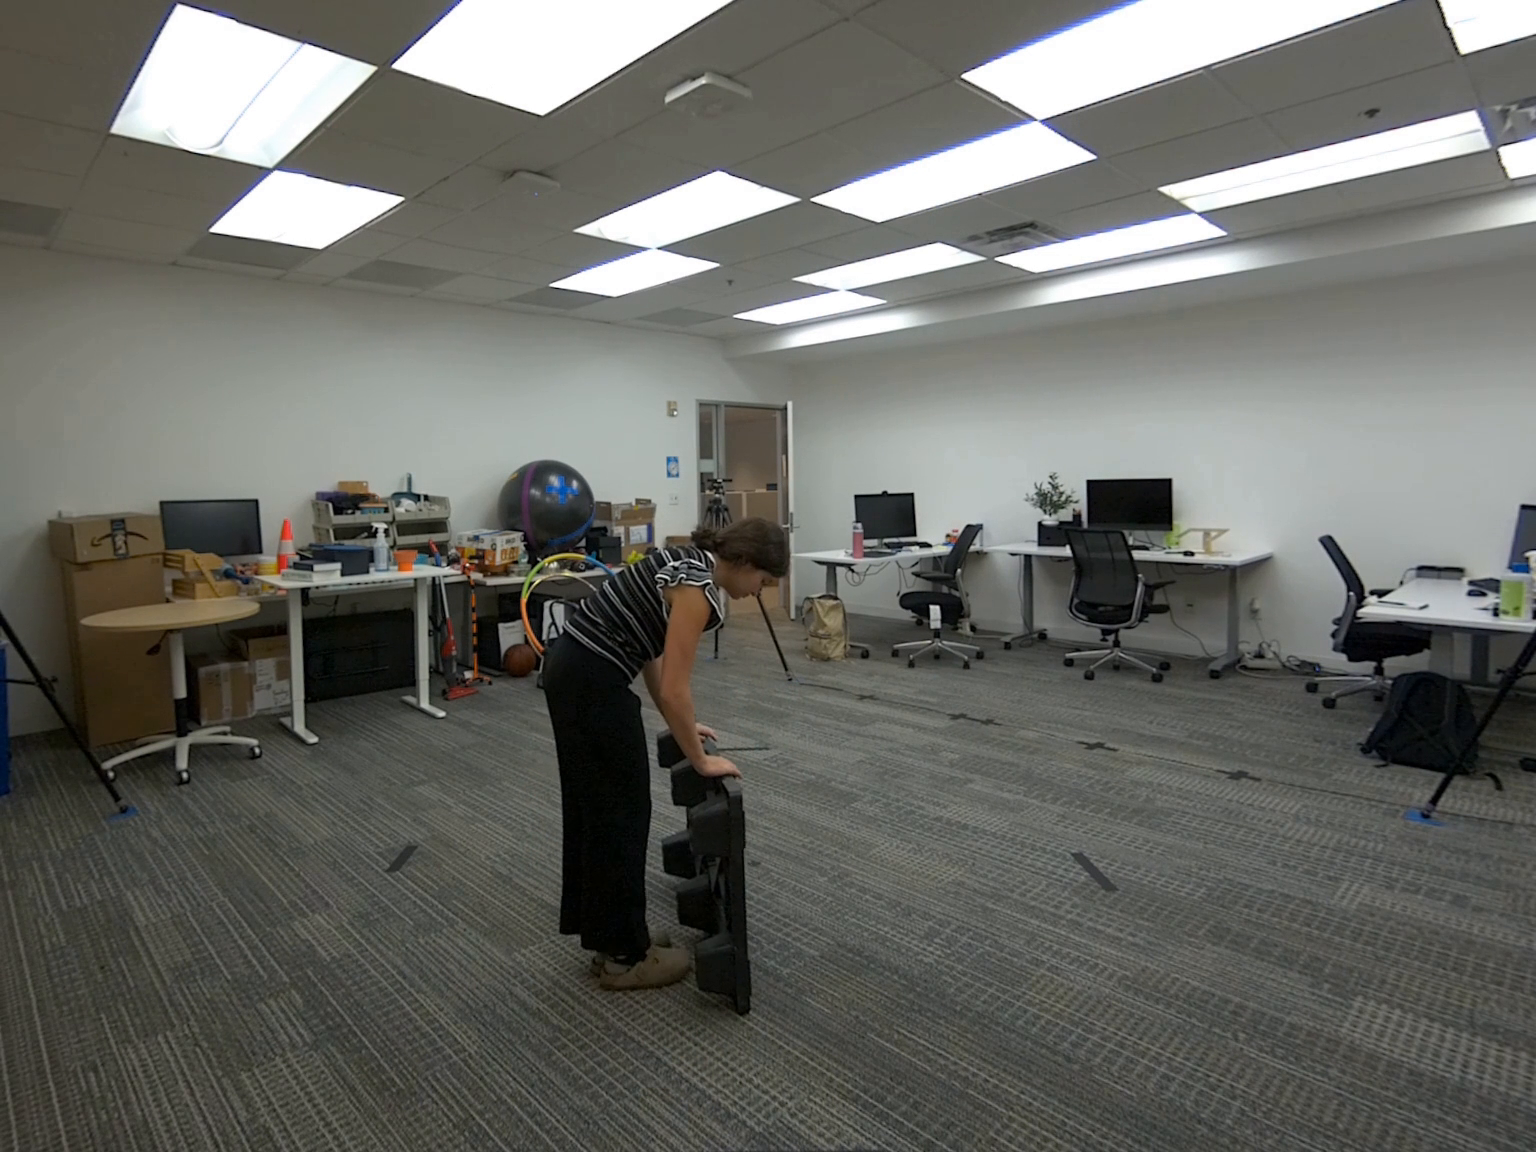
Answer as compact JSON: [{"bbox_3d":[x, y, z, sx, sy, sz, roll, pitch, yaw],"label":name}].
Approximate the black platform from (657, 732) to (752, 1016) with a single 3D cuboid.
[{"bbox_3d":[-0.206,0.805,2.589,0.141,0.602,0.819,-3,6,-14],"label":"black platform"}]
